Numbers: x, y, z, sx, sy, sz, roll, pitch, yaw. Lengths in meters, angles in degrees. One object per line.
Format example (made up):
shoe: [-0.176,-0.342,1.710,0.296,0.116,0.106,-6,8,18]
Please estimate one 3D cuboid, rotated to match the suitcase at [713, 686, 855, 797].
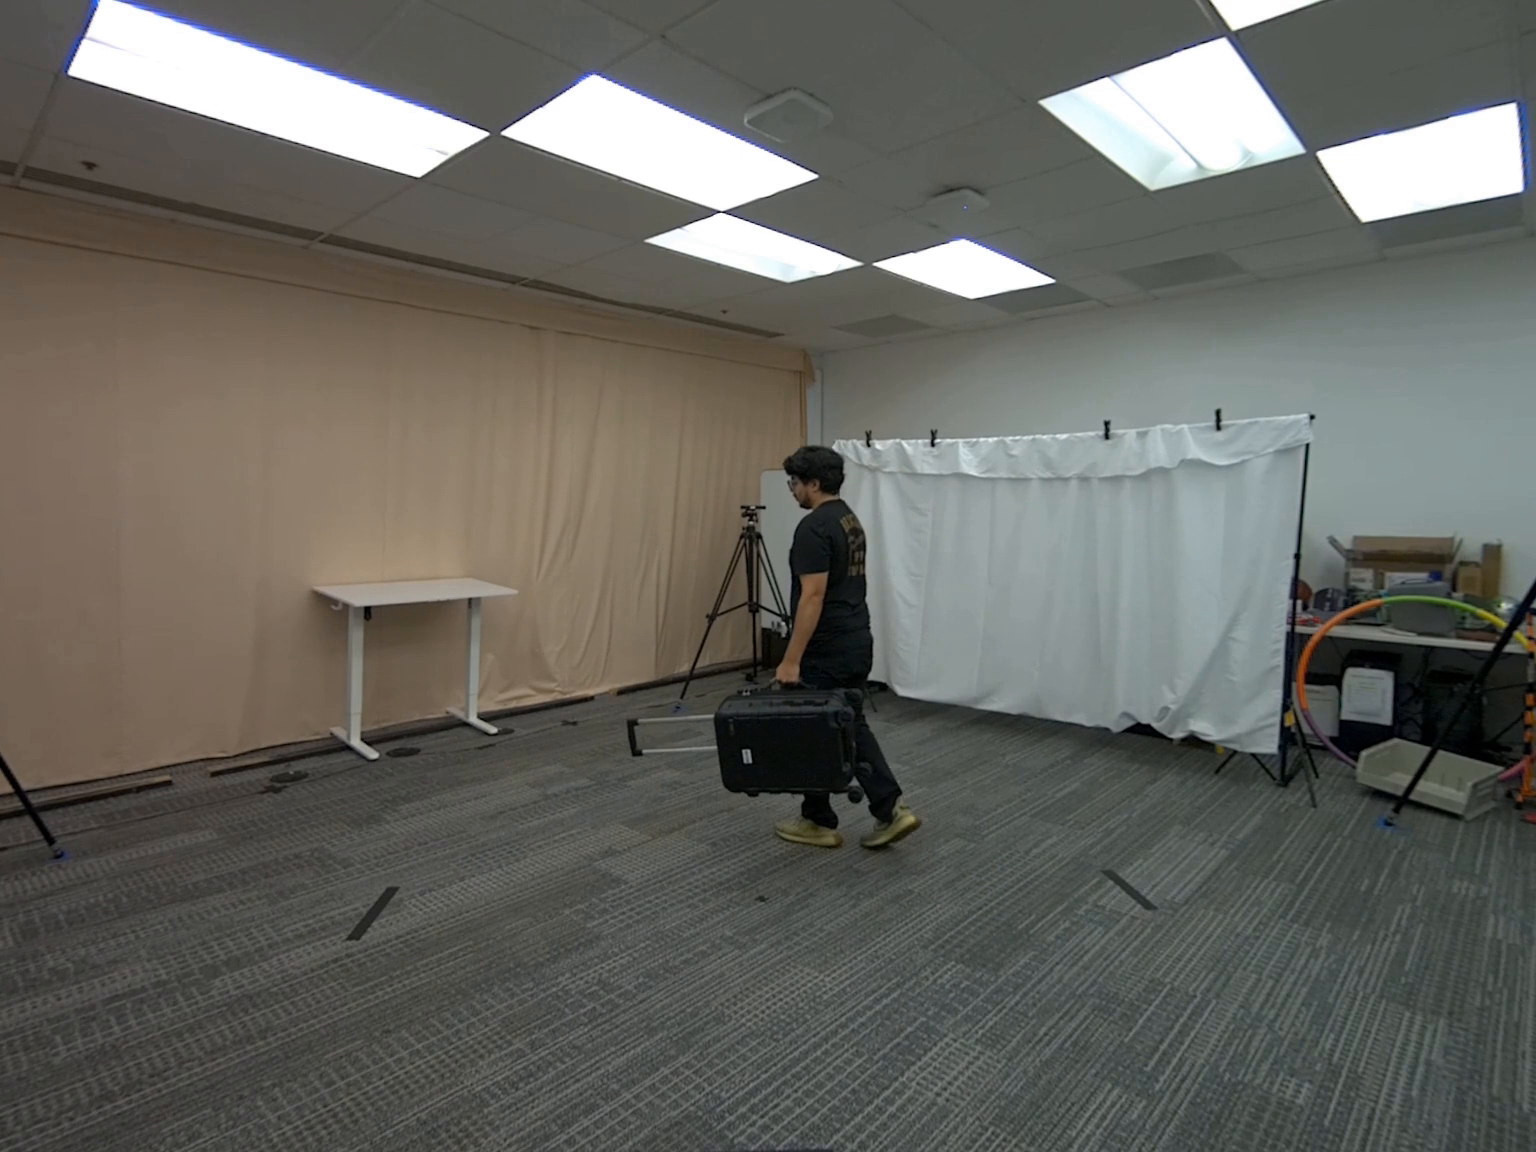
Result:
suitcase: [-0.119,0.633,3.238,0.996,0.382,0.254,-5,7,17]
